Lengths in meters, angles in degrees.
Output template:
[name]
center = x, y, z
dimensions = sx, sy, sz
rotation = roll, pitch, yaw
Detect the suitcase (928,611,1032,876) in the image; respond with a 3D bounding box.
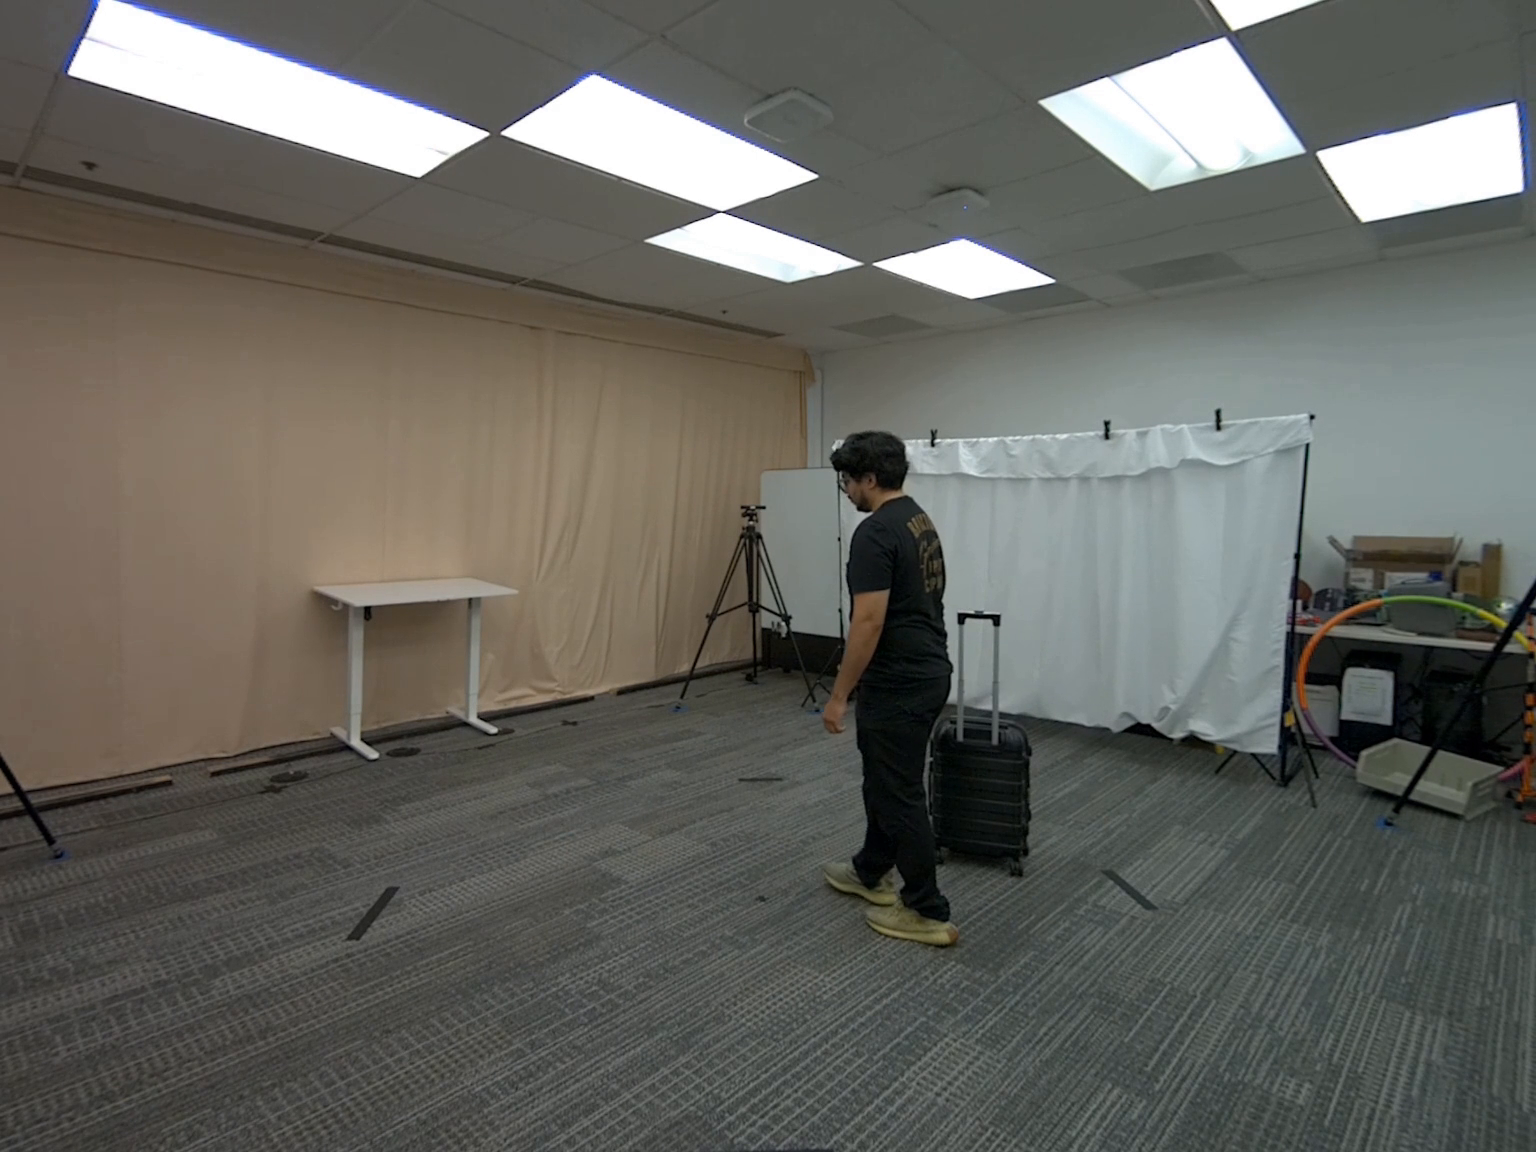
[suitcase]
center = 0.842, 0.635, 3.331
dimensions = 0.392, 0.978, 0.251
rotation = 1, 0, 20
